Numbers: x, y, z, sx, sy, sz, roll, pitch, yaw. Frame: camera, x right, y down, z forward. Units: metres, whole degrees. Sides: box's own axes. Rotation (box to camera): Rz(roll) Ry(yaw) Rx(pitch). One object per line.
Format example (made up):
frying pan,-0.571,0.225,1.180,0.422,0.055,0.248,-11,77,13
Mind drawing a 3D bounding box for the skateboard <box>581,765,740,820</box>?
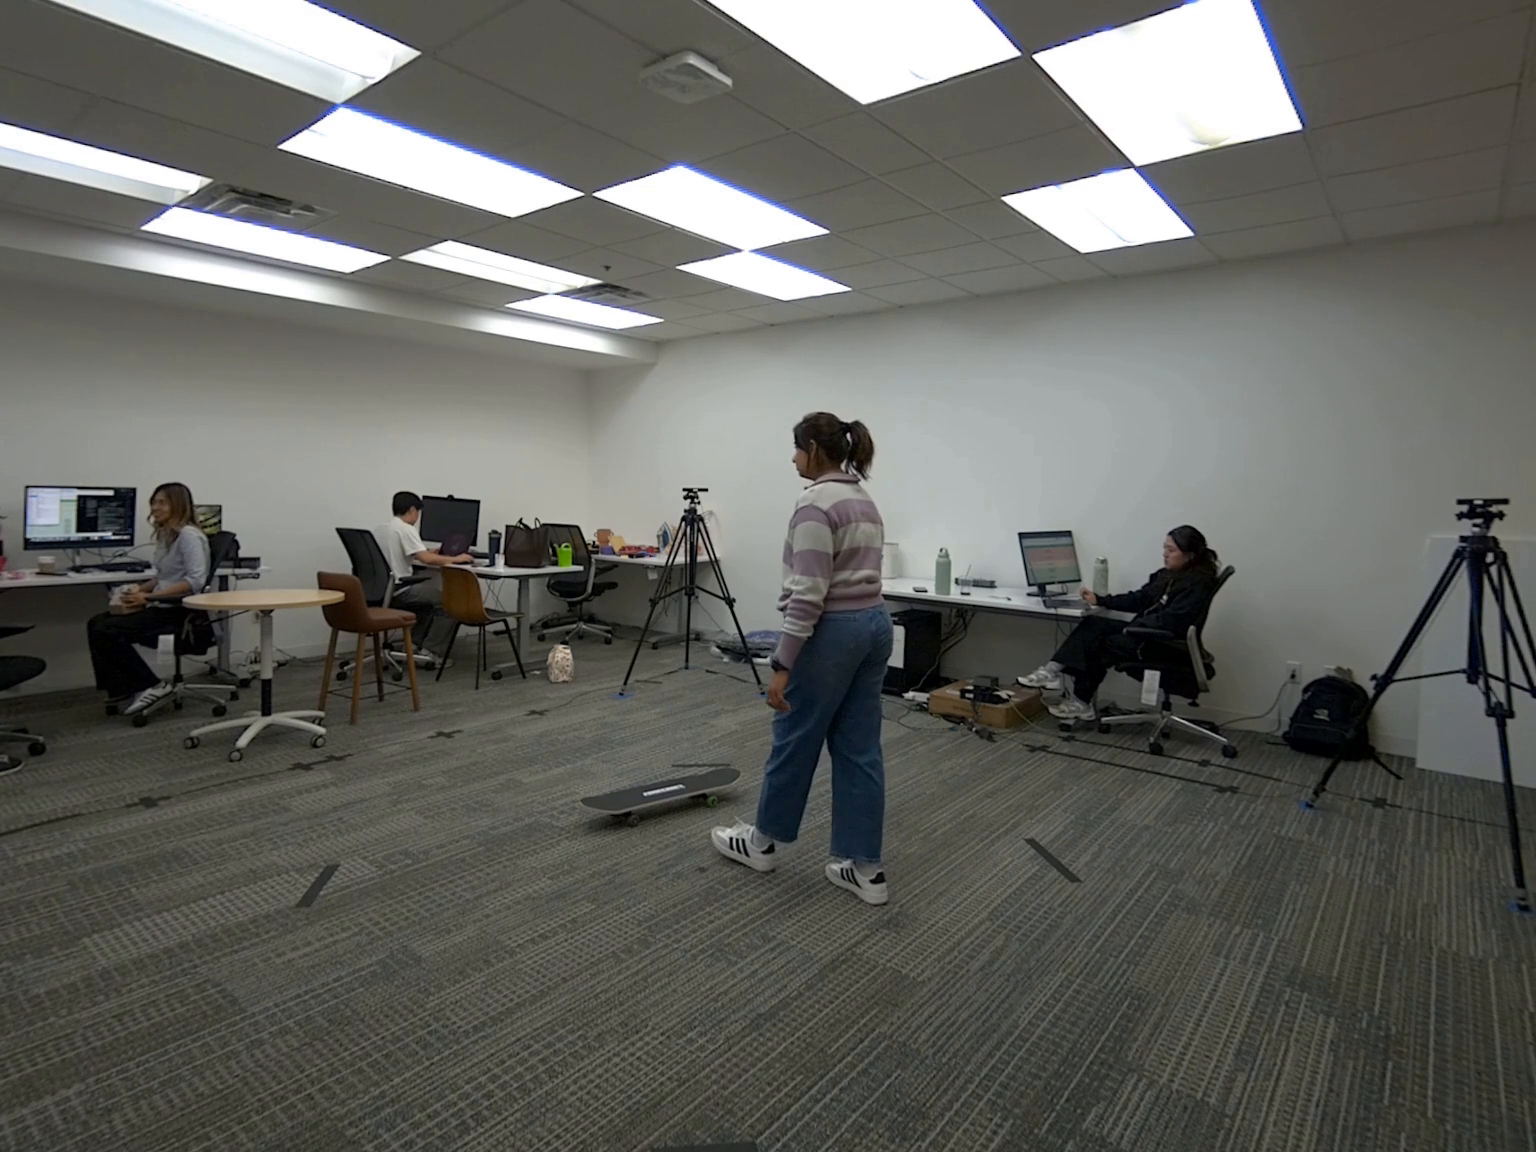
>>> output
skateboard,-0.461,0.956,3.676,0.763,0.110,0.200,-3,7,-36
